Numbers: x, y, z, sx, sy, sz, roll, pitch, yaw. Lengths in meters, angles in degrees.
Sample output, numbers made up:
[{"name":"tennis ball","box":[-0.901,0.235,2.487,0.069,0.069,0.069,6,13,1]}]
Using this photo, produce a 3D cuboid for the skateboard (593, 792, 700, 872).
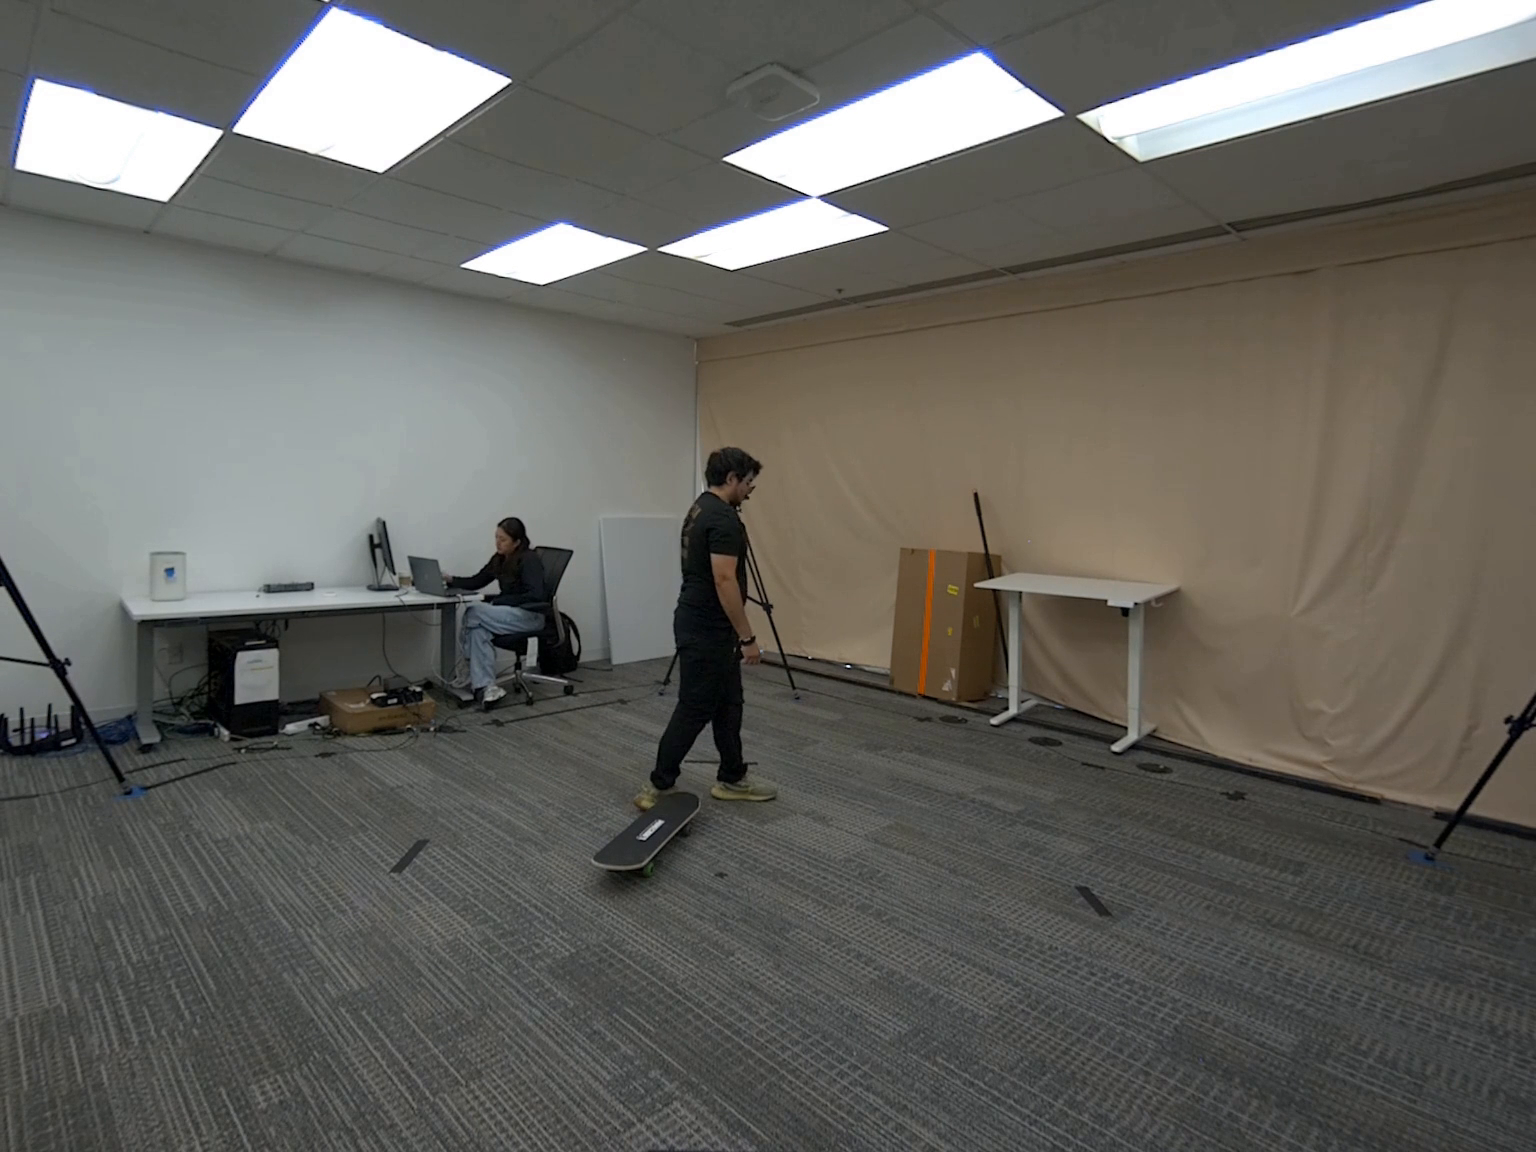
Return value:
[{"name":"skateboard","box":[-0.467,1.024,3.289,0.196,0.110,0.777,3,5,14]}]
